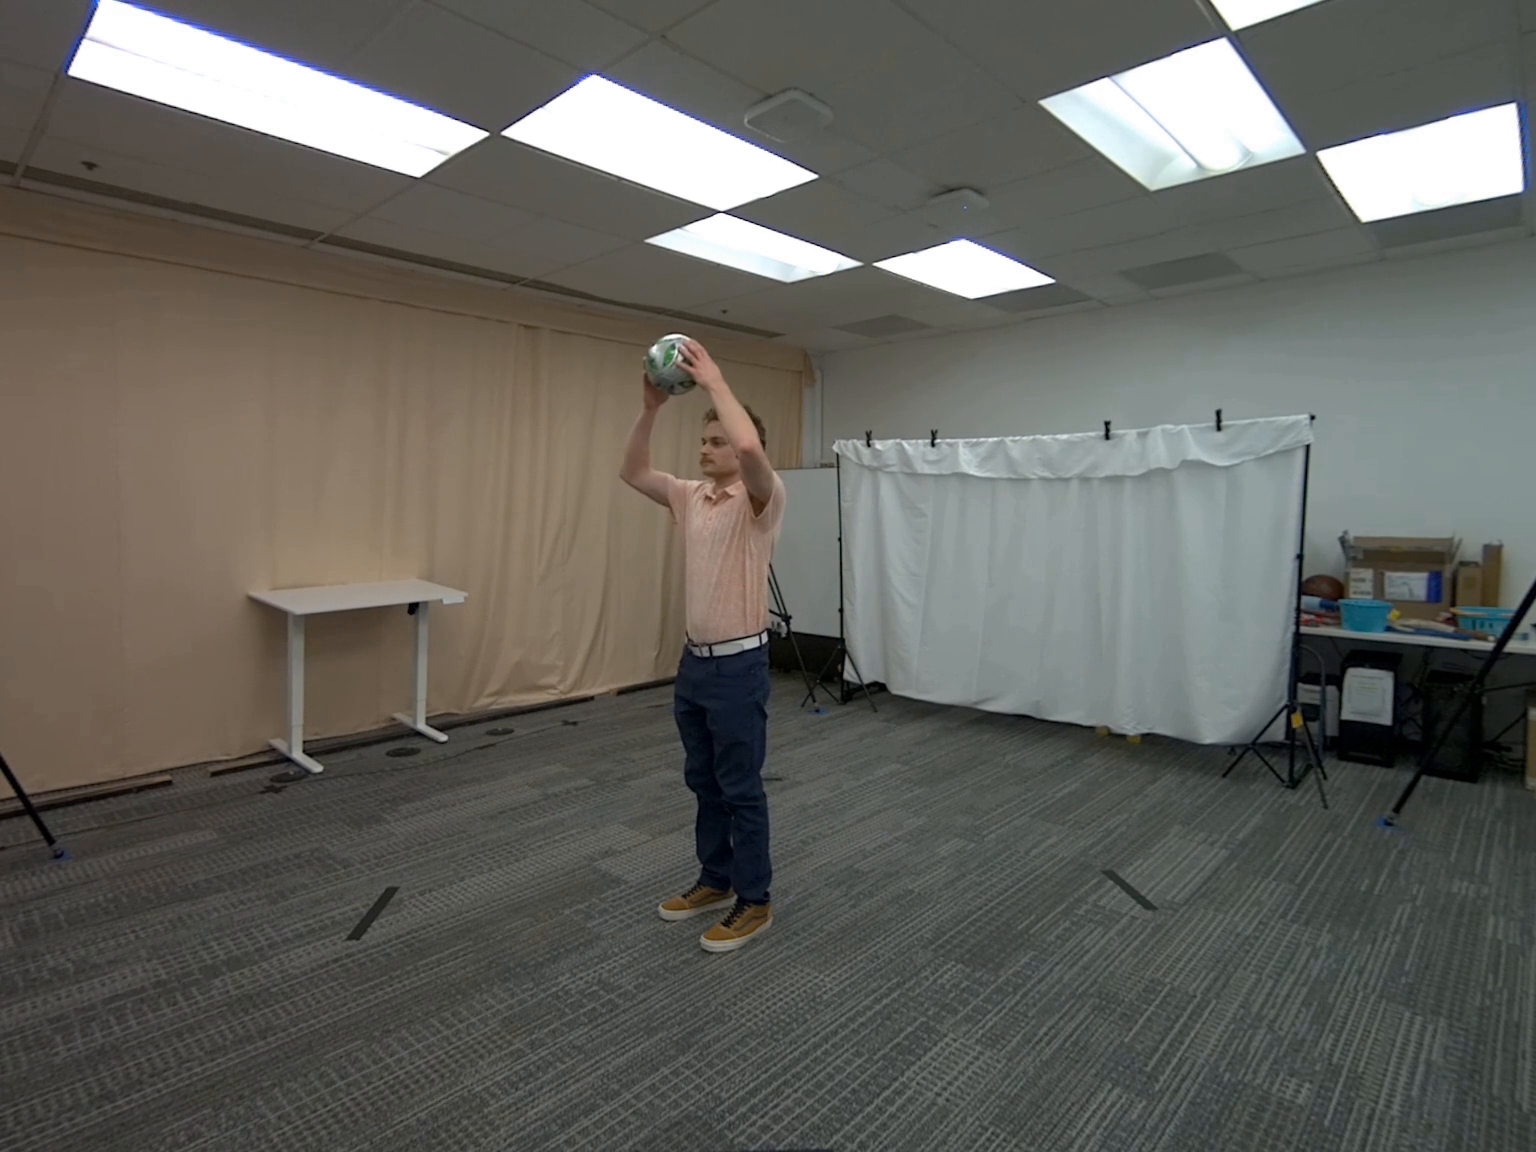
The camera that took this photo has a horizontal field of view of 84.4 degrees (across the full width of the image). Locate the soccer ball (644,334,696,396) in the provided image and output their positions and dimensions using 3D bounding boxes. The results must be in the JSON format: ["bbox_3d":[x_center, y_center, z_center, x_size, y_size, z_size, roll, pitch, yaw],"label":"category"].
[{"bbox_3d":[-0.286,-0.657,2.650,0.187,0.187,0.188,0,4,-2],"label":"soccer ball"}]
